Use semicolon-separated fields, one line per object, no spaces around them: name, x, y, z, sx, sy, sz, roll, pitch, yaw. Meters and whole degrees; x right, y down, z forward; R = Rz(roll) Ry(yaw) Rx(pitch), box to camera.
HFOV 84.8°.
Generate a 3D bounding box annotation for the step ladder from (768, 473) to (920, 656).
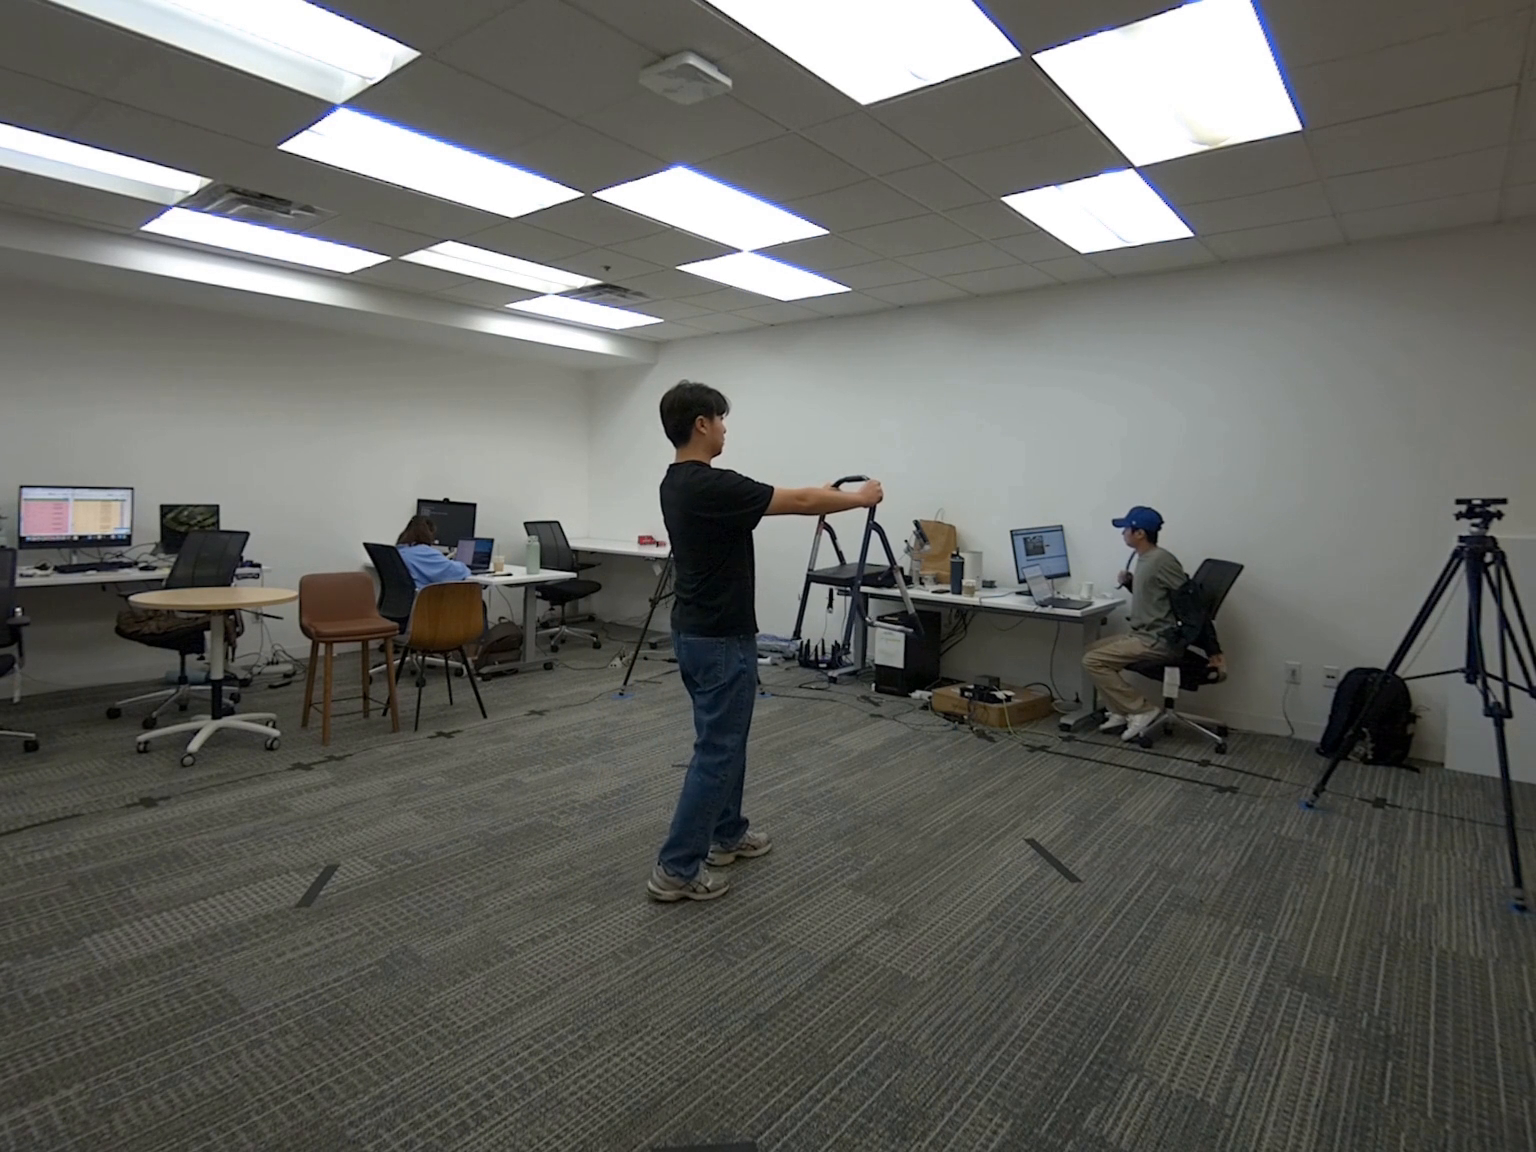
step ladder;0.275;-0.065;3.180;0.343;0.603;0.441;-7;6;-22
